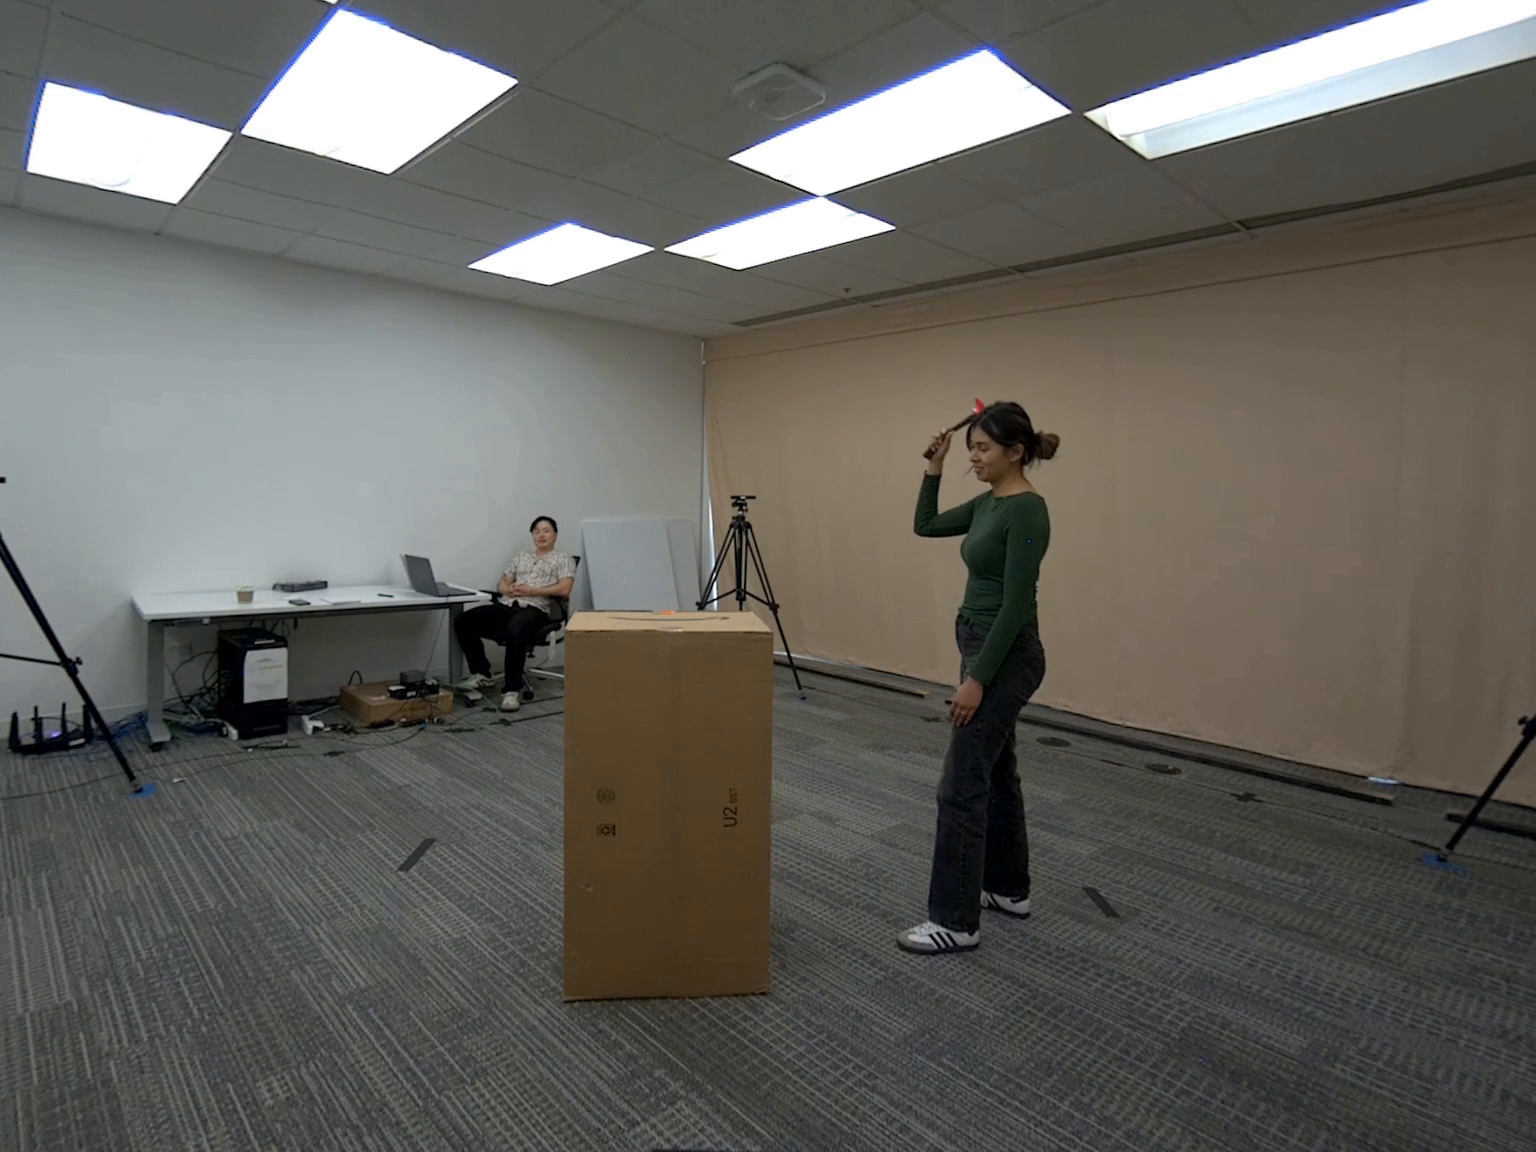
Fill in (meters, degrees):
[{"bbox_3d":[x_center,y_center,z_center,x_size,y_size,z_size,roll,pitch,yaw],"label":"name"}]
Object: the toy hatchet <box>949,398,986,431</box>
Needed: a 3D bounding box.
[{"bbox_3d":[0.672,-0.474,2.905,0.127,0.270,0.030,31,12,-35],"label":"toy hatchet"}]
